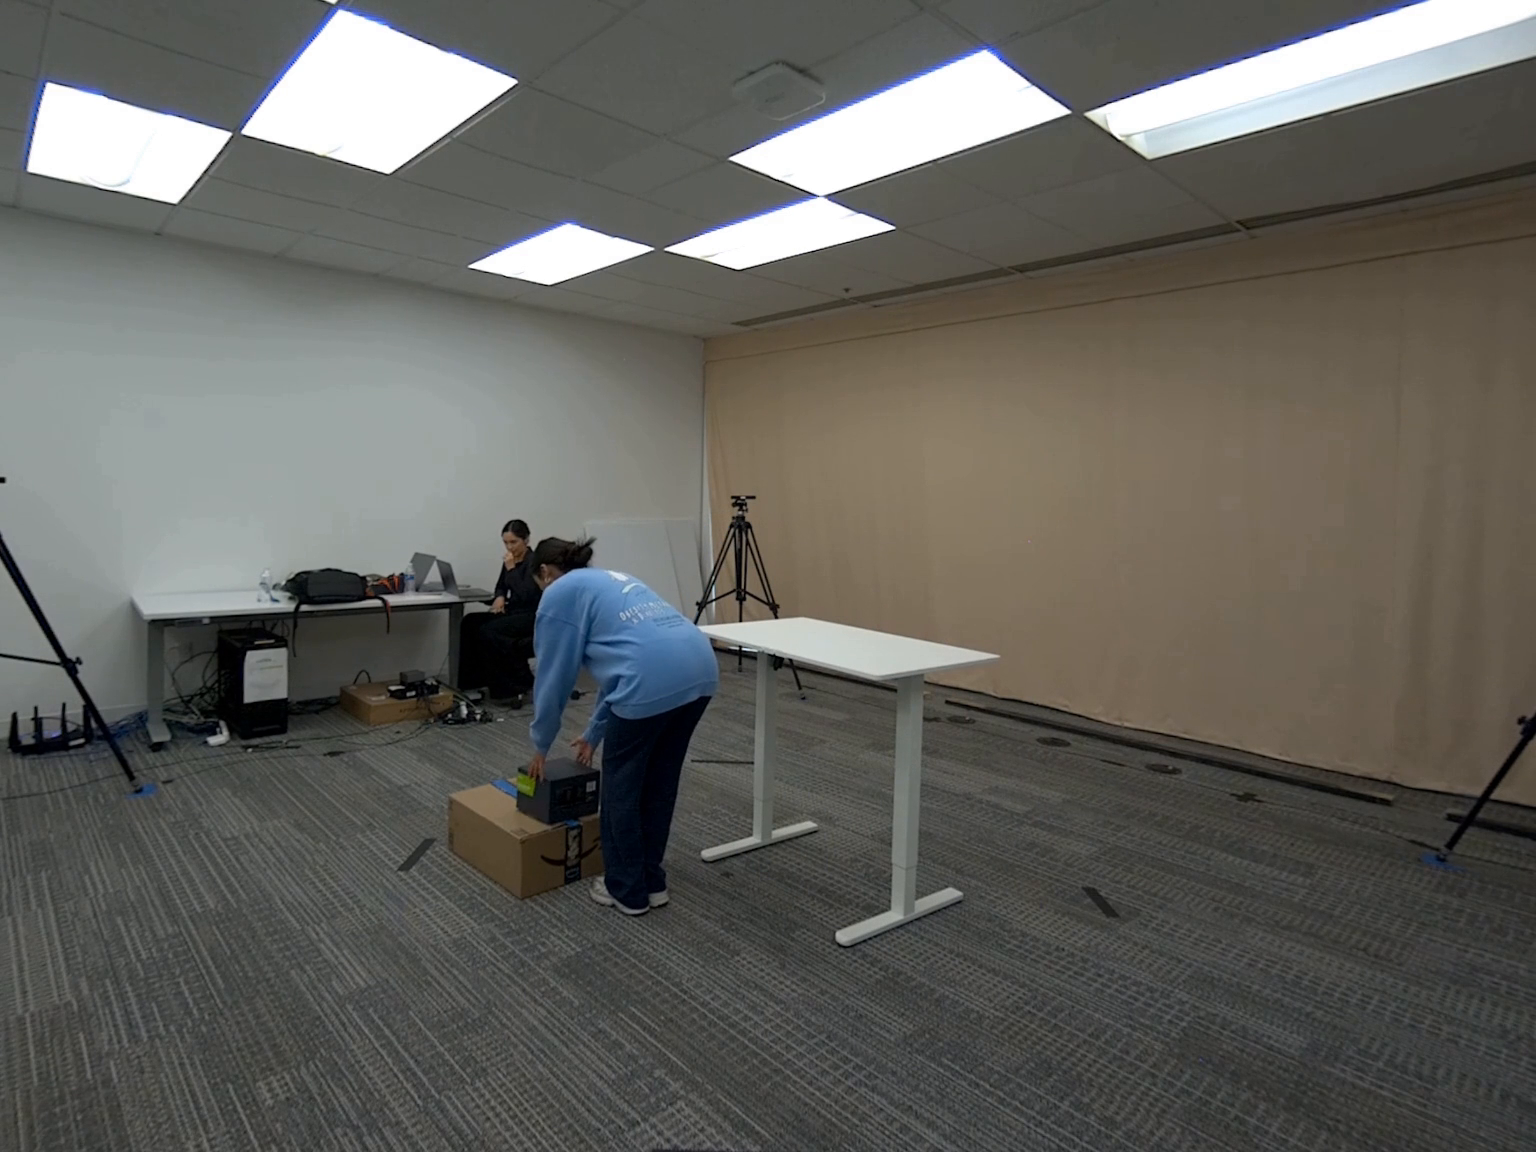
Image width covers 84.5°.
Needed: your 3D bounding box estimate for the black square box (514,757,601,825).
[{"bbox_3d":[-0.781,0.764,3.108,0.234,0.155,0.212,5,6,43],"label":"black square box"}]
